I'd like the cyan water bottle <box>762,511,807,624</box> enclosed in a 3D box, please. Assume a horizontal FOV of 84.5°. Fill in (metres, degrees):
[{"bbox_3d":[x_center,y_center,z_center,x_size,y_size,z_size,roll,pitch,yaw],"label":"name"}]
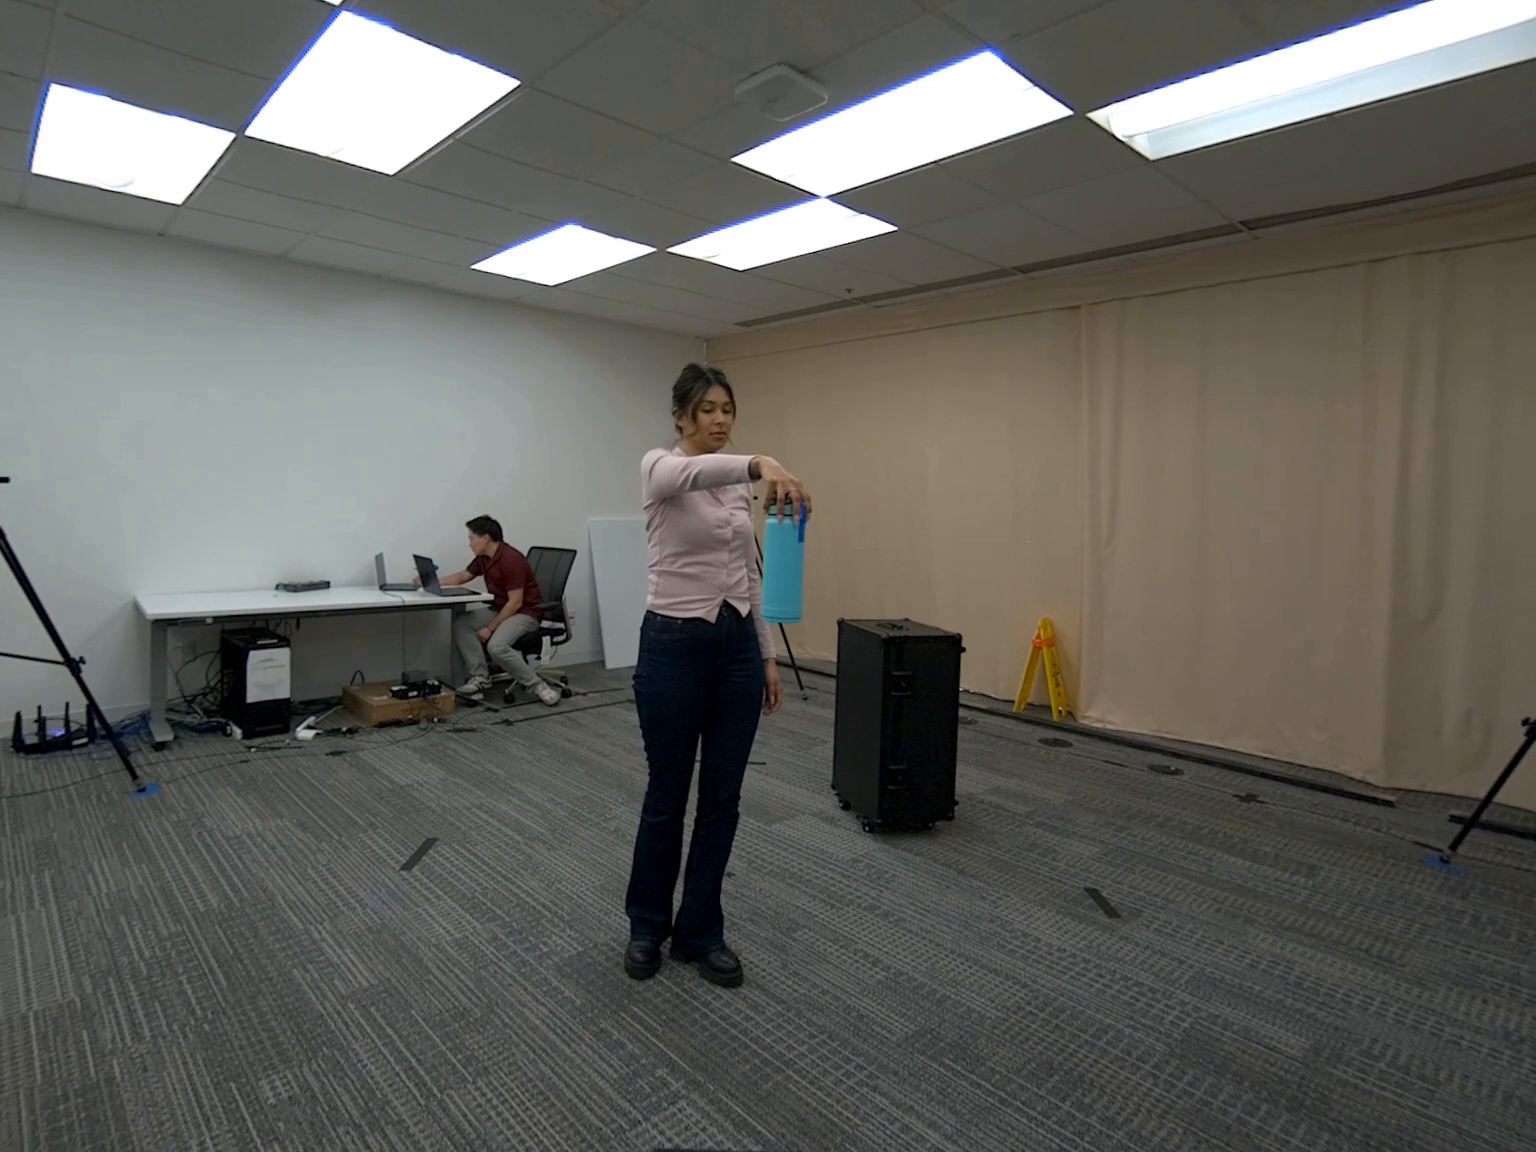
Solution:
[{"bbox_3d":[0.031,-0.042,1.838,0.092,0.283,0.092,3,1,-1],"label":"cyan water bottle"}]
